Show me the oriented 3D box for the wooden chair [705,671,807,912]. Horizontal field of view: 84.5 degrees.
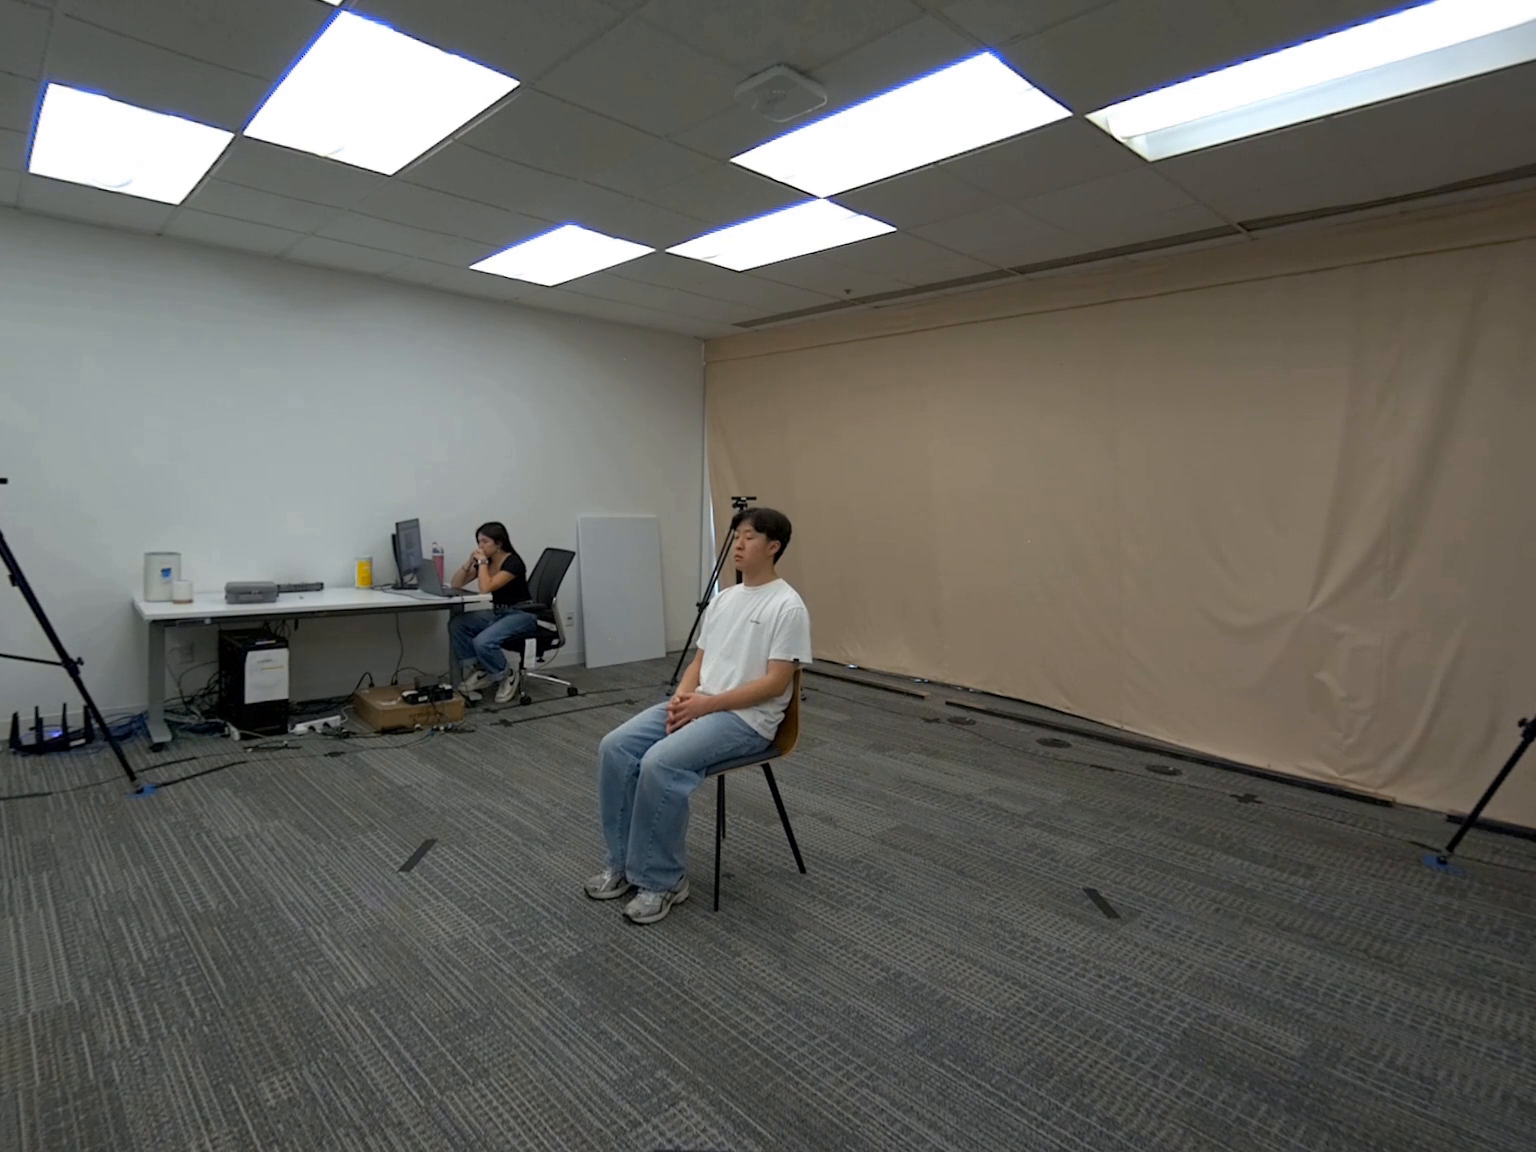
[{"bbox_3d":[-0.172,0.677,3.120,0.510,0.878,0.490,5,-1,-45],"label":"wooden chair"}]
